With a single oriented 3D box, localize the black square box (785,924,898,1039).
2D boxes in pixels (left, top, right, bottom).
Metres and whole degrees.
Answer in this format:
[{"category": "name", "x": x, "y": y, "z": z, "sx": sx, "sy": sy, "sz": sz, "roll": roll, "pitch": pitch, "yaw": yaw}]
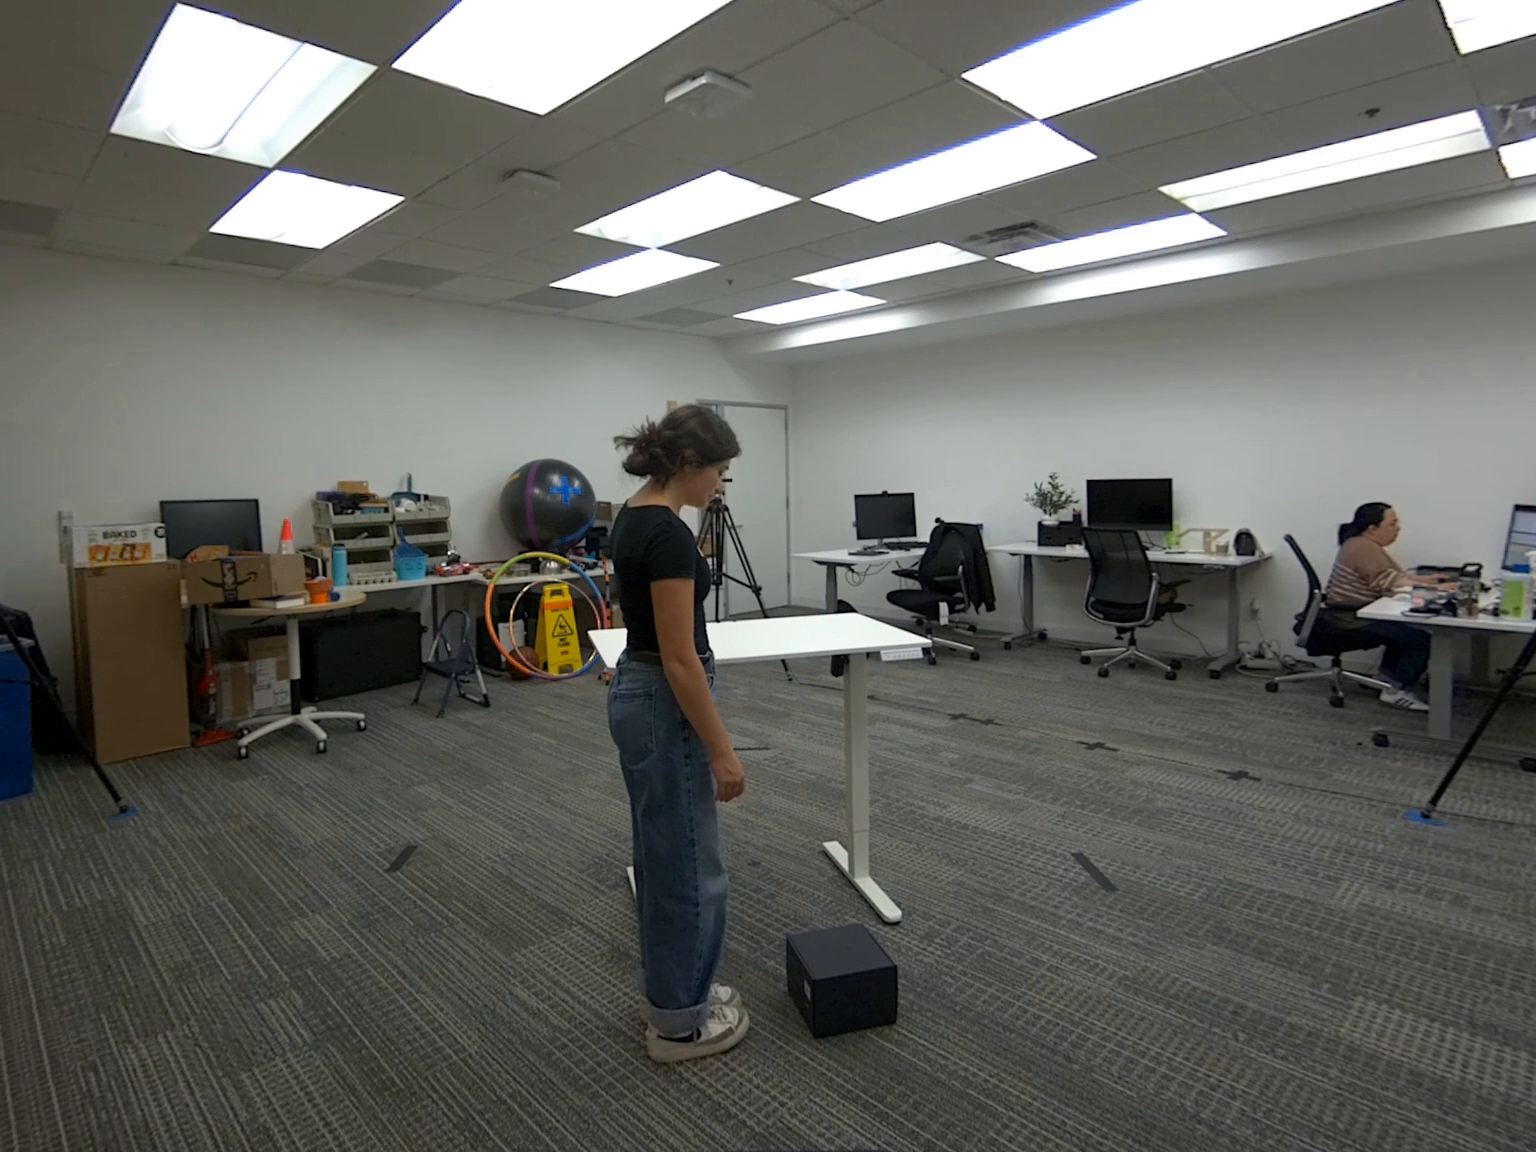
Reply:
[{"category": "black square box", "x": 0.196, "y": 1.057, "z": 2.253, "sx": 0.224, "sy": 0.155, "sz": 0.221, "roll": -2, "pitch": 6, "yaw": -16}]
